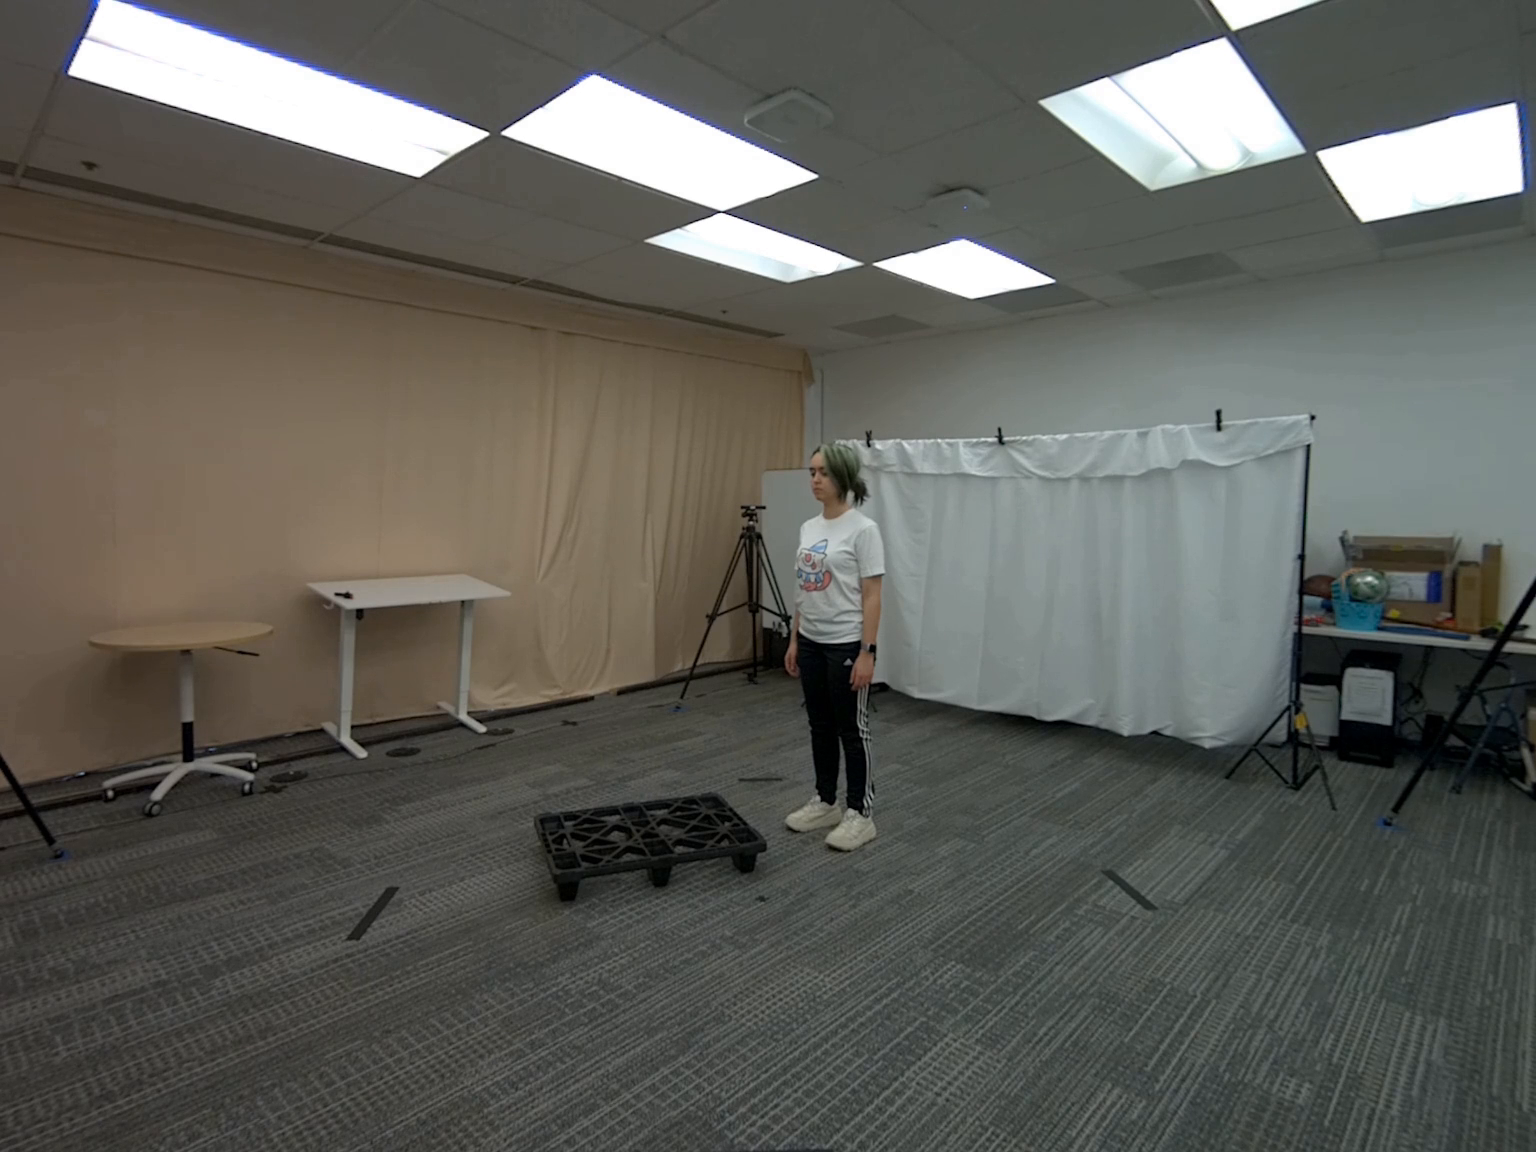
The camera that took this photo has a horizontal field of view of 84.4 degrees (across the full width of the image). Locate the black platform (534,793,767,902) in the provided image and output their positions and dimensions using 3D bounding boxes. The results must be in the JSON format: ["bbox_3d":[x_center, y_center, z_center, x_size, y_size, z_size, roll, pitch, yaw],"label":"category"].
[{"bbox_3d":[-0.480,1.053,3.302,0.790,0.143,0.618,-2,4,-20],"label":"black platform"}]
